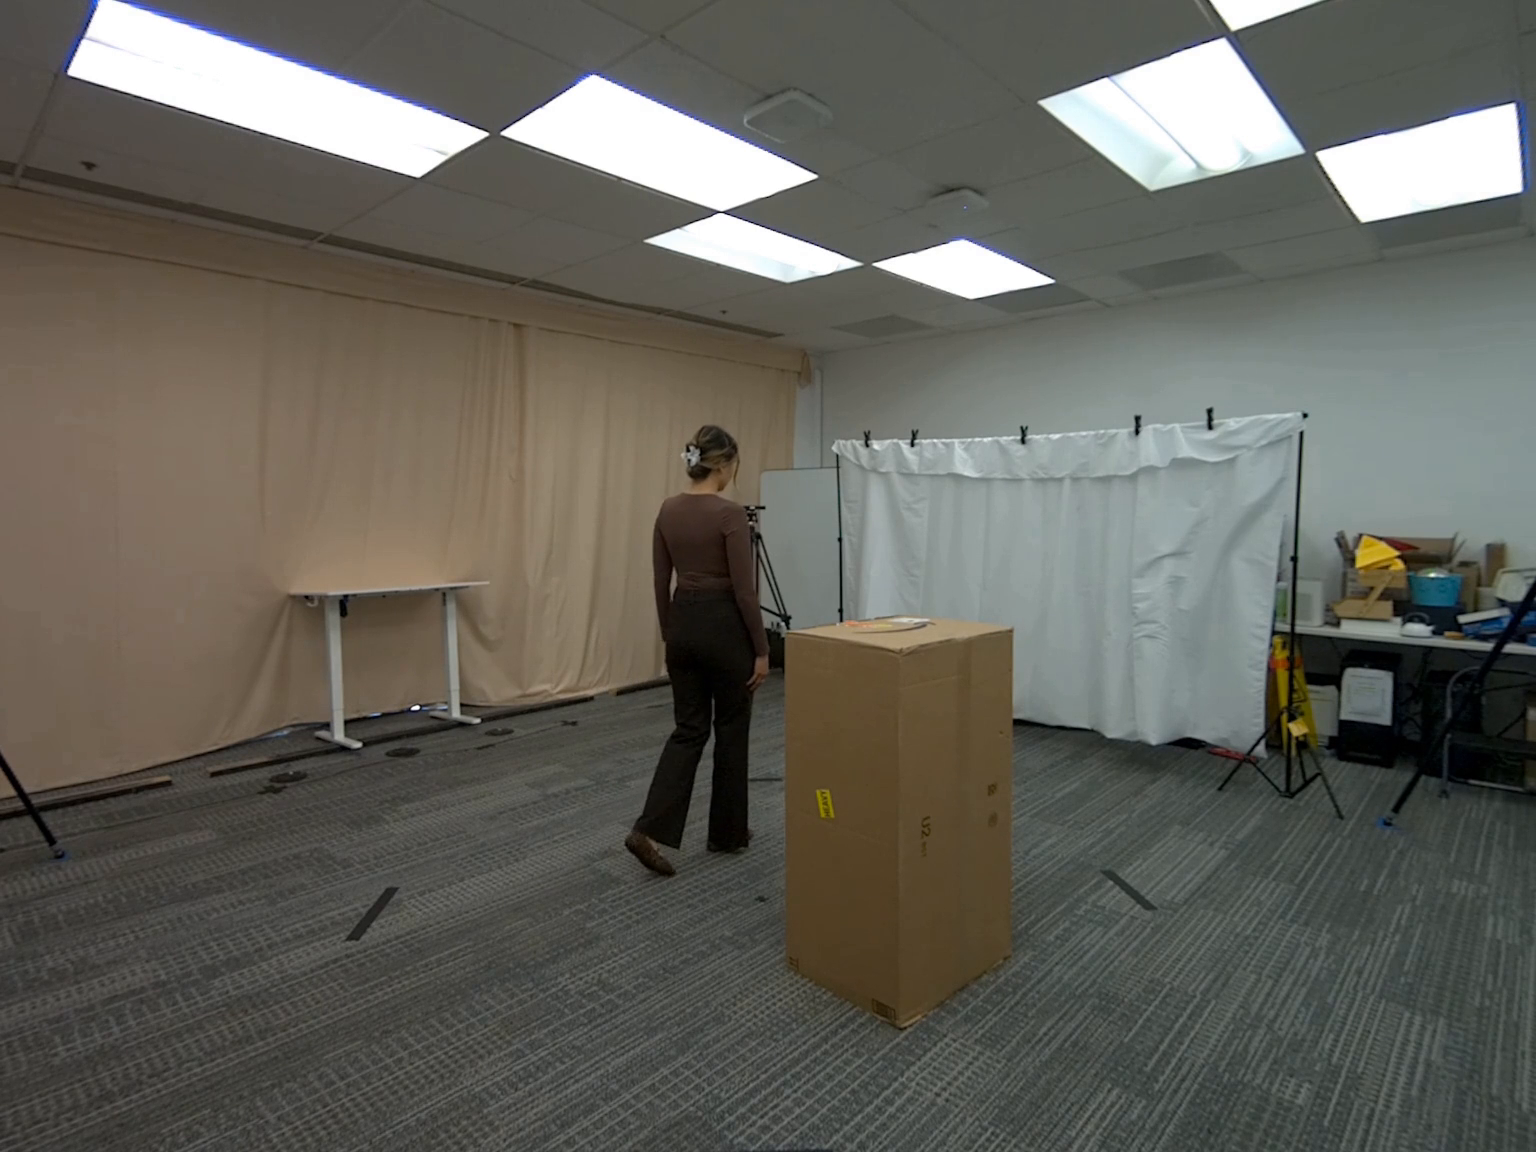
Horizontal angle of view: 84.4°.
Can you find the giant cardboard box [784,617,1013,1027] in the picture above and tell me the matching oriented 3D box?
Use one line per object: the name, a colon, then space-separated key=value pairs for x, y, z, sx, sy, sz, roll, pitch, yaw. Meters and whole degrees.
giant cardboard box: x=0.407 y=0.668 z=2.552 sx=0.566 sy=1.025 sz=0.461 roll=-3 pitch=3 yaw=-41
